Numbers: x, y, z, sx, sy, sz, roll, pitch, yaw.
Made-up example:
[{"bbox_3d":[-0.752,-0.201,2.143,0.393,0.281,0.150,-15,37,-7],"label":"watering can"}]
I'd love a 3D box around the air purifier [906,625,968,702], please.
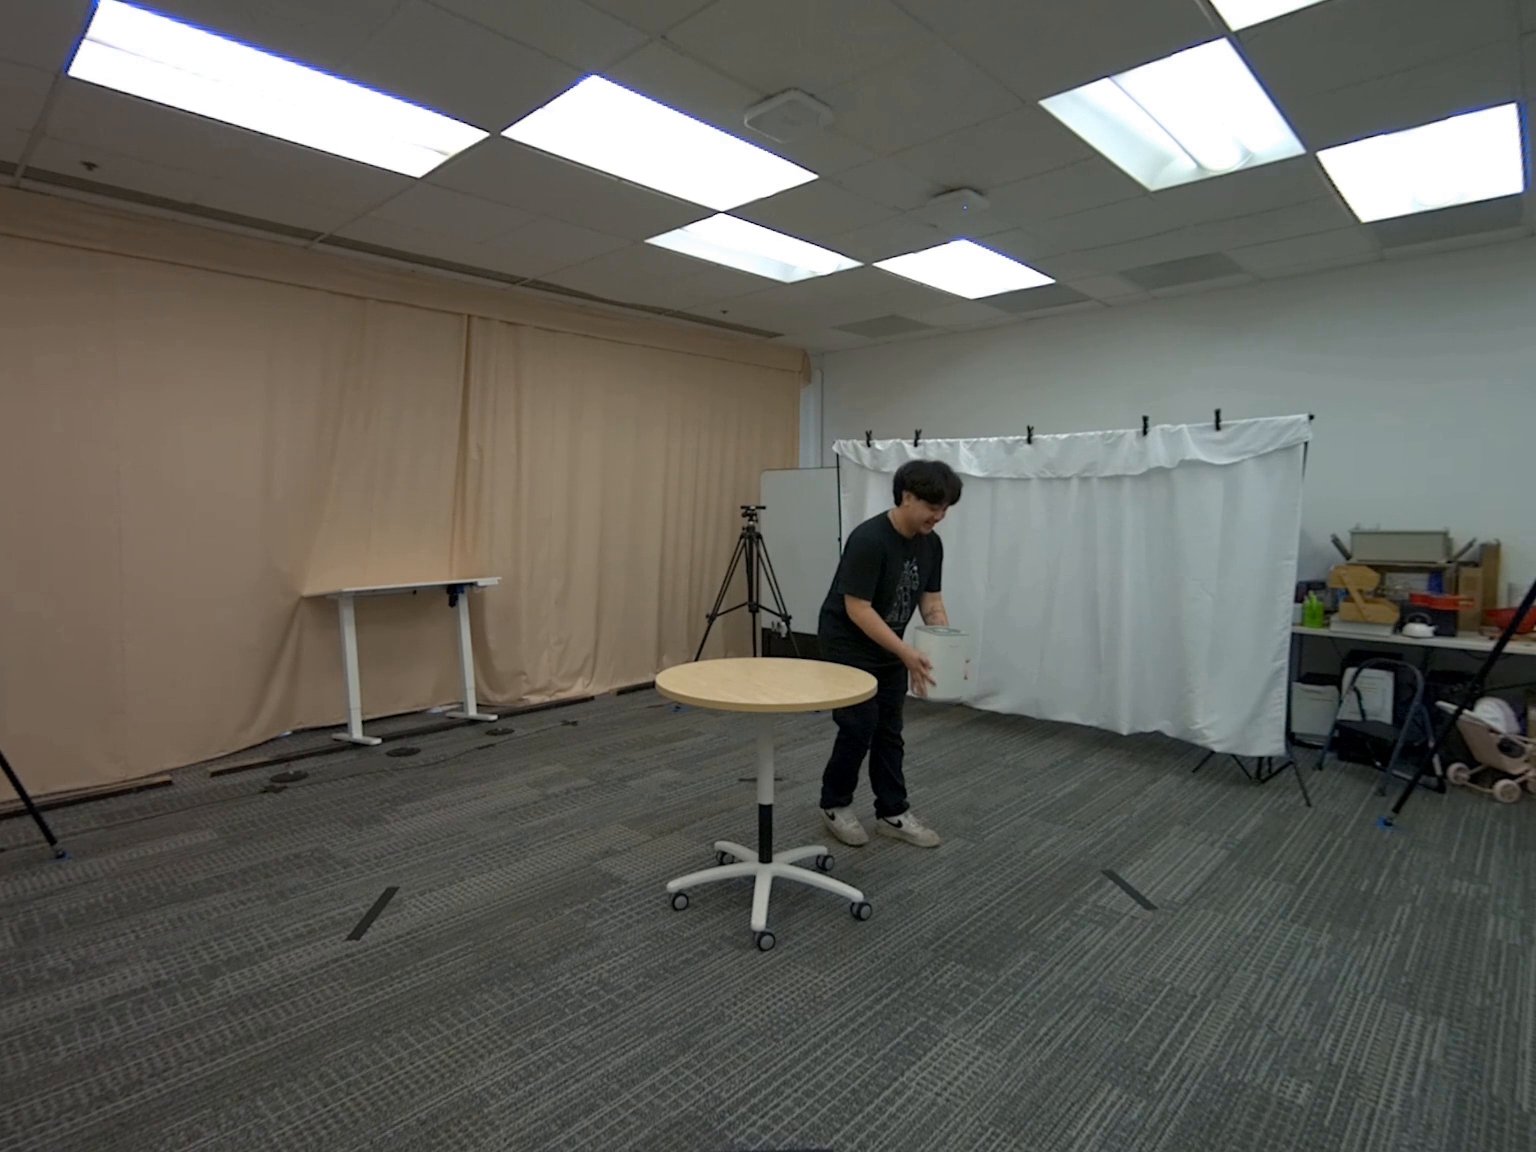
[{"bbox_3d":[0.651,0.337,3.223,0.167,0.265,0.176,1,5,-22],"label":"air purifier"}]
